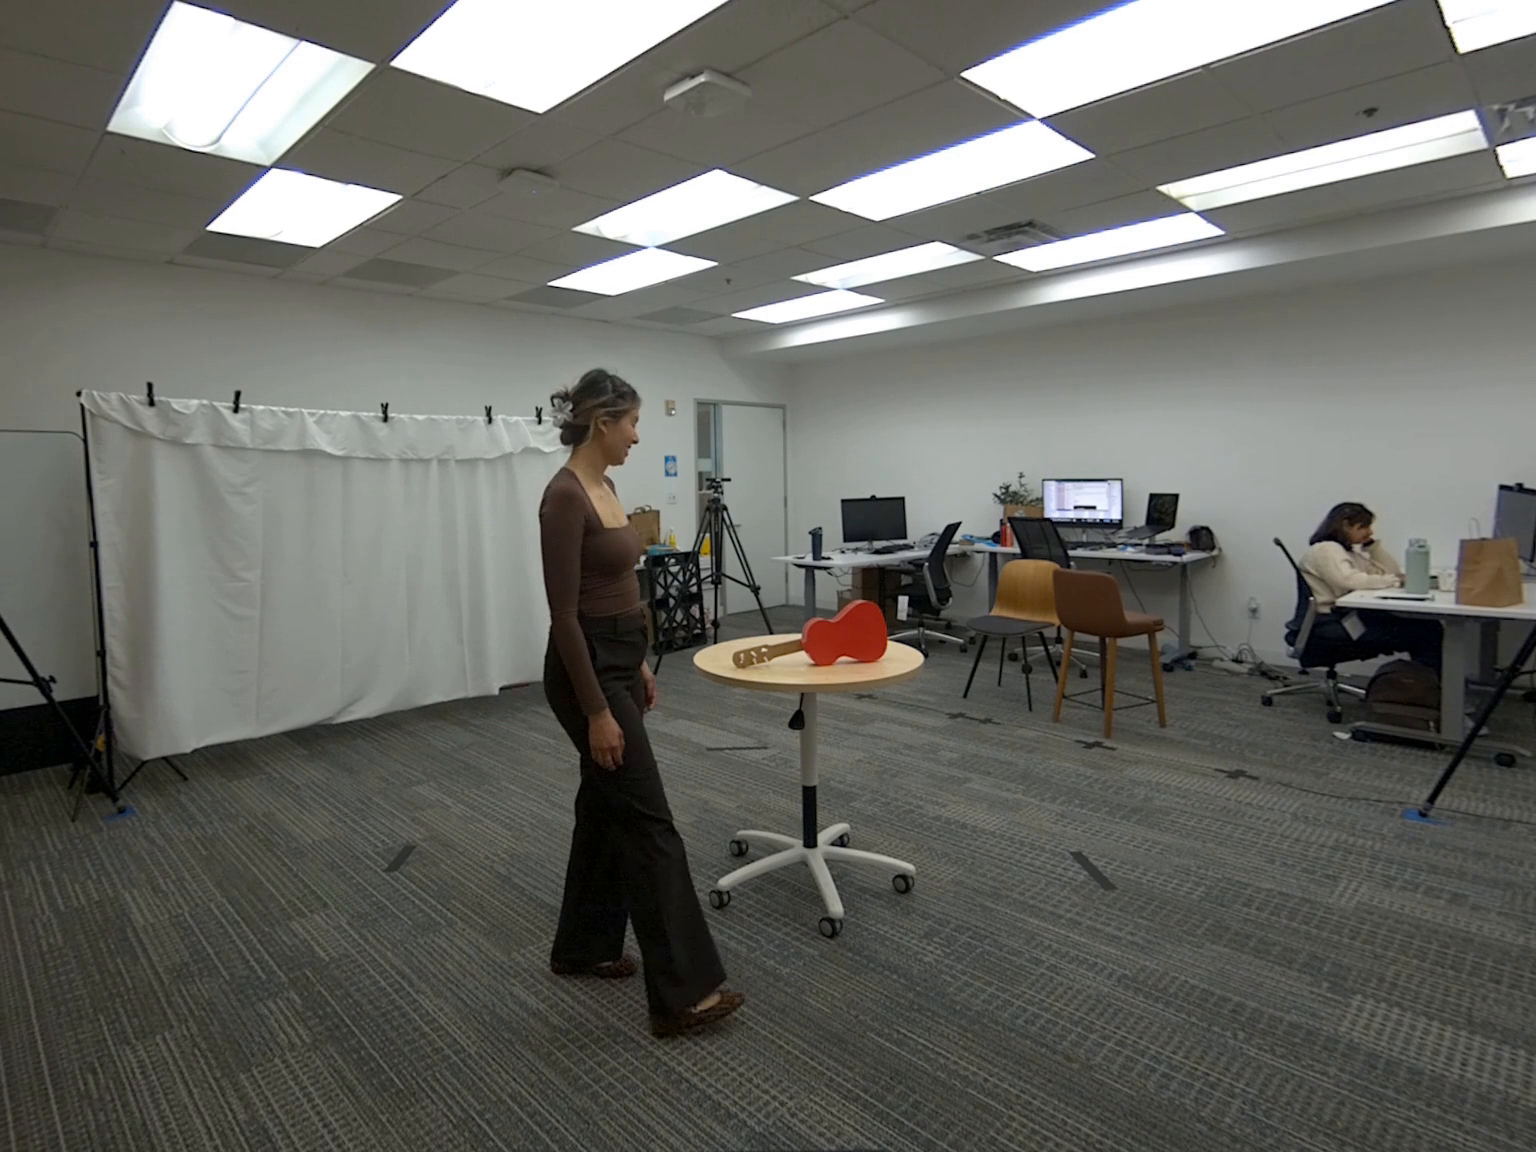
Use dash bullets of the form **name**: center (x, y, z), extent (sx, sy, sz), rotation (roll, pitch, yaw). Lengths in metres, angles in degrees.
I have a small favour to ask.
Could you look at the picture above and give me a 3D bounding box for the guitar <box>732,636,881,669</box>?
- **guitar**: center (0.146, 0.243, 2.735), extent (0.495, 0.191, 0.071), rotation (-22, 6, -9)
